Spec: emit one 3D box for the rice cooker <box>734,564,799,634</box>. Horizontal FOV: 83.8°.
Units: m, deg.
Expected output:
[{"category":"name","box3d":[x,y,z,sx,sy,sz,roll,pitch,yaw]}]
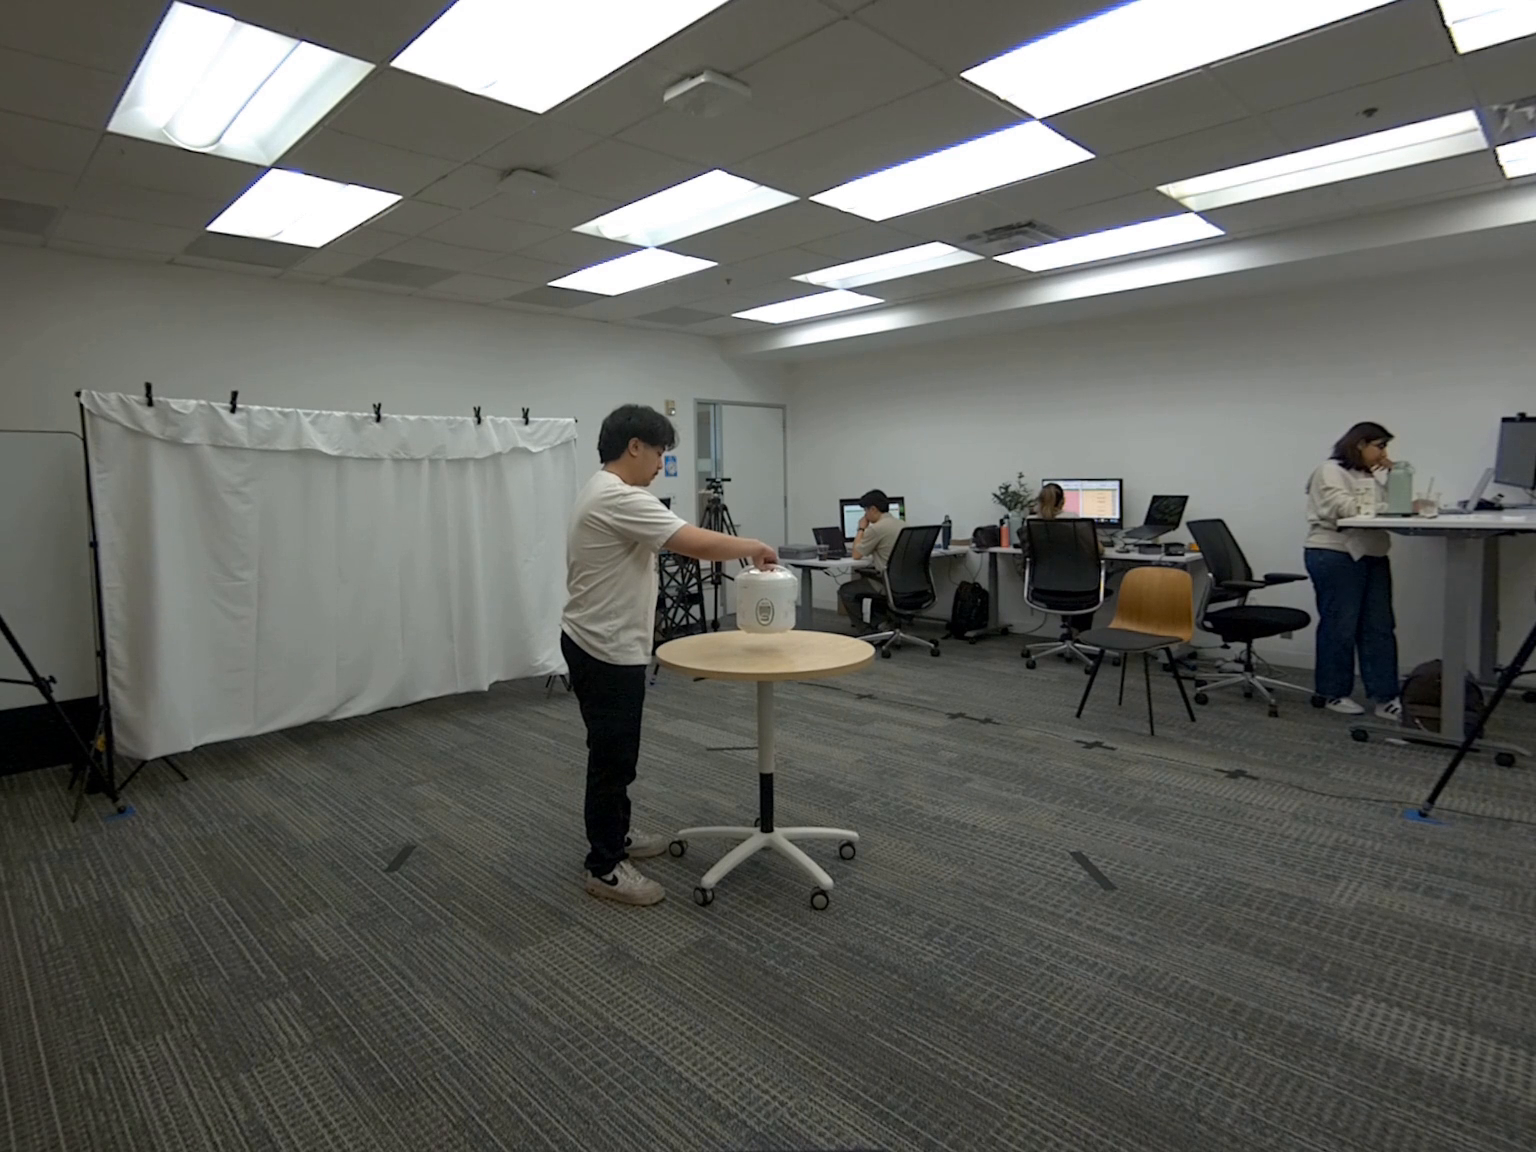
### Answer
[{"category":"rice cooker","box3d":[-0.003,0.073,2.953,0.221,0.232,0.217,-1,5,3]}]
